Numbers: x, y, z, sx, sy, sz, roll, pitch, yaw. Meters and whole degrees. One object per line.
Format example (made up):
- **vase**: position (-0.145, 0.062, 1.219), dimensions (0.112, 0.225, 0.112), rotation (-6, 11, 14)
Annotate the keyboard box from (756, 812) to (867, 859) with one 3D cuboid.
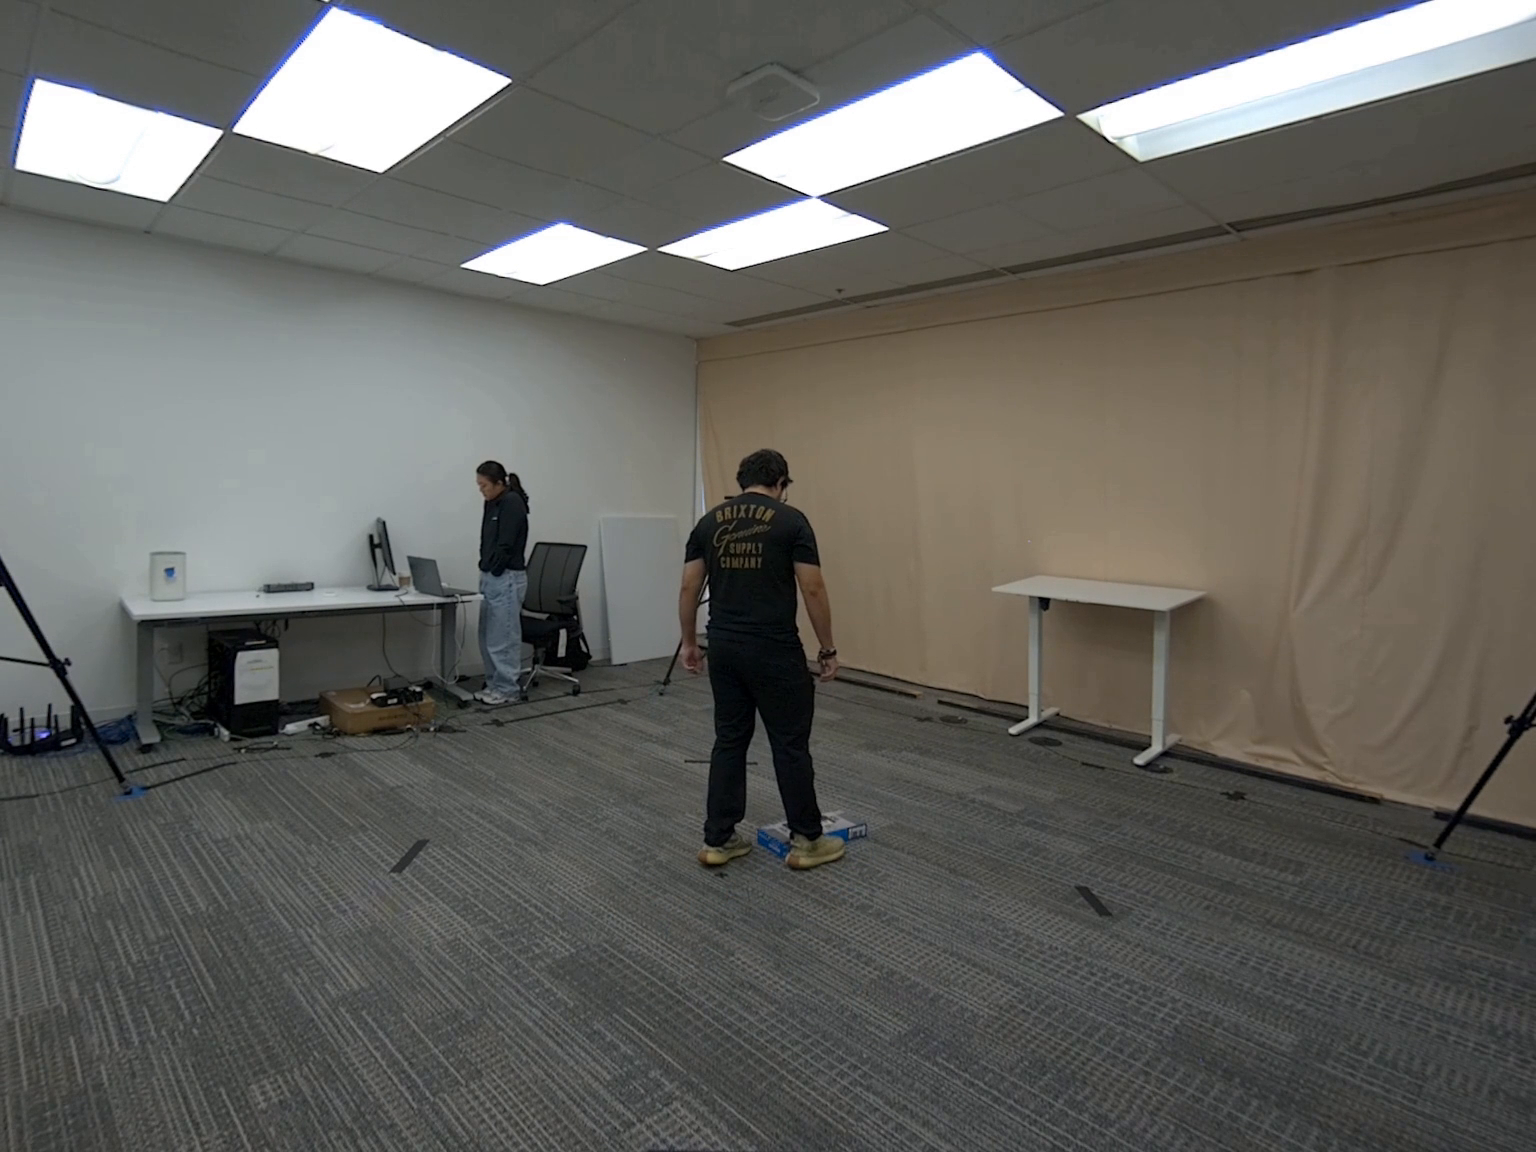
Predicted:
- **keyboard box**: position (0.173, 1.049, 3.453), dimensions (0.427, 0.059, 0.180), rotation (-2, 6, -33)
